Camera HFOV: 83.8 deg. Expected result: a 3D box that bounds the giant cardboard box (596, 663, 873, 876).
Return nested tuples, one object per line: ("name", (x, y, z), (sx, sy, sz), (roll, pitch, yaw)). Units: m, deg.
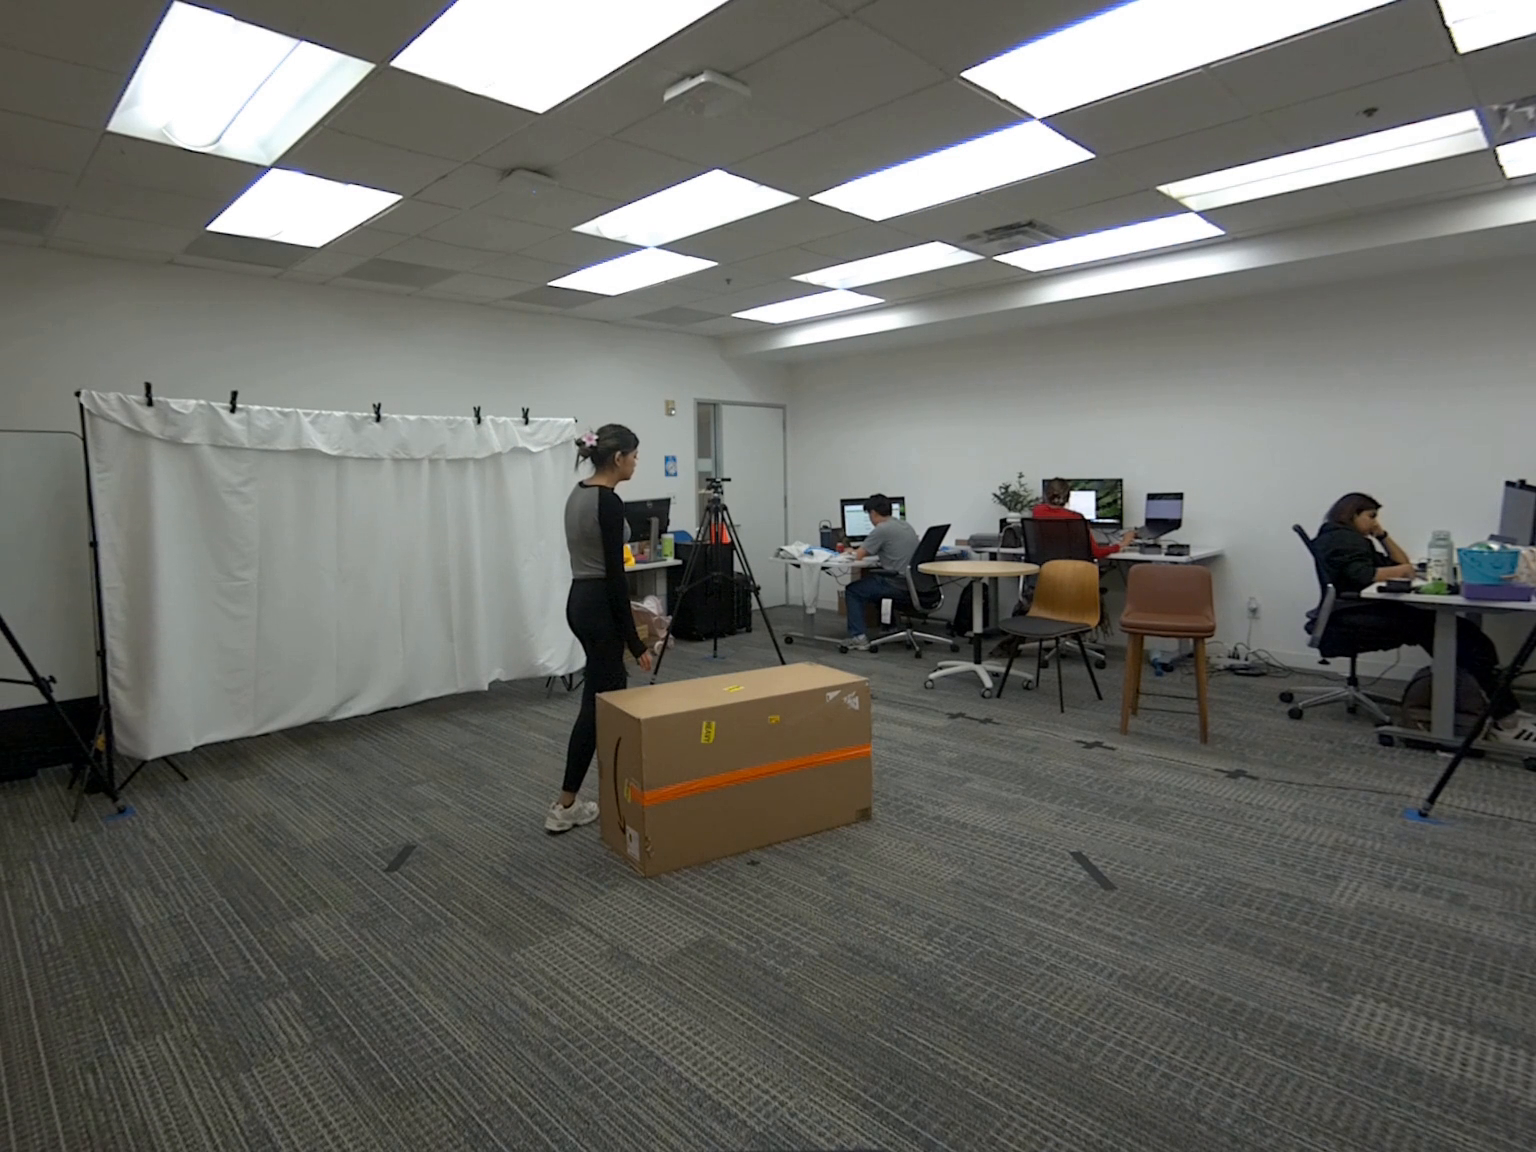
("giant cardboard box", (-0.121, 0.722, 3.398), (1.002, 0.575, 0.438), (-5, 5, -30))
